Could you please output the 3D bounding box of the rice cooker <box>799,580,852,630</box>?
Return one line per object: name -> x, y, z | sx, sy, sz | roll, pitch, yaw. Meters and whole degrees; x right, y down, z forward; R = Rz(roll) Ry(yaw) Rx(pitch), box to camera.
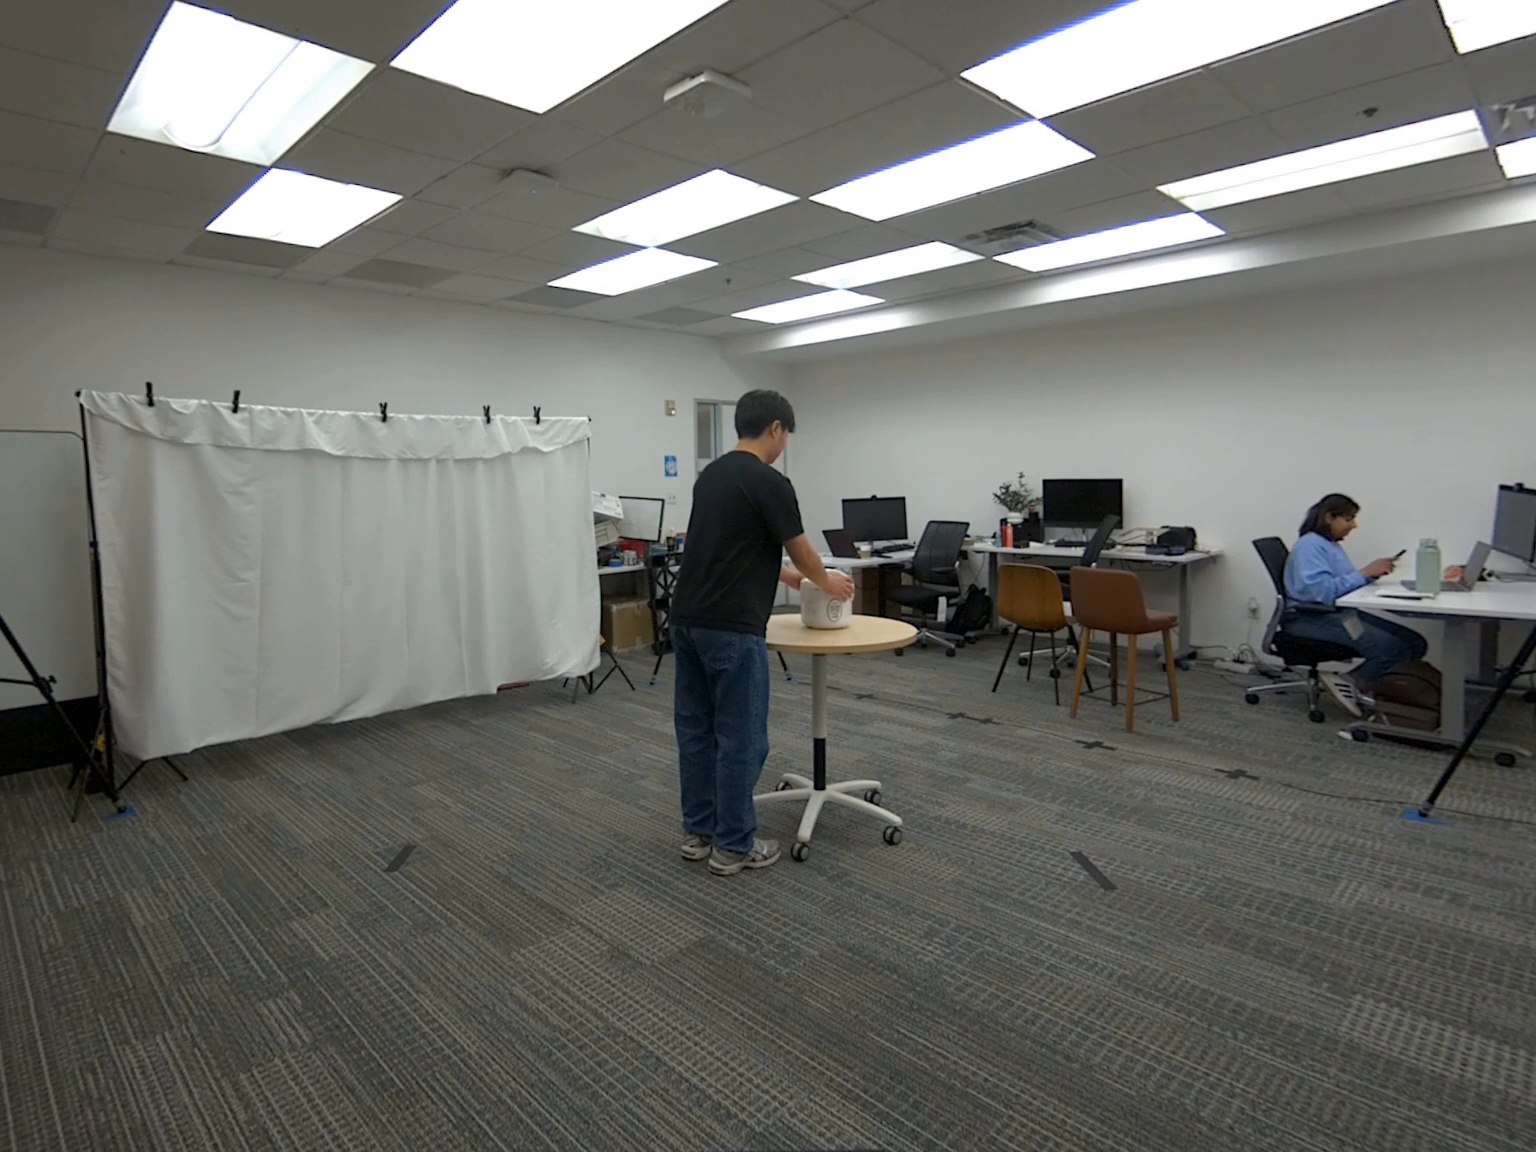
rice cooker -> 0.240, 0.087, 3.447 | 0.218, 0.232, 0.221 | -3, 5, -13
